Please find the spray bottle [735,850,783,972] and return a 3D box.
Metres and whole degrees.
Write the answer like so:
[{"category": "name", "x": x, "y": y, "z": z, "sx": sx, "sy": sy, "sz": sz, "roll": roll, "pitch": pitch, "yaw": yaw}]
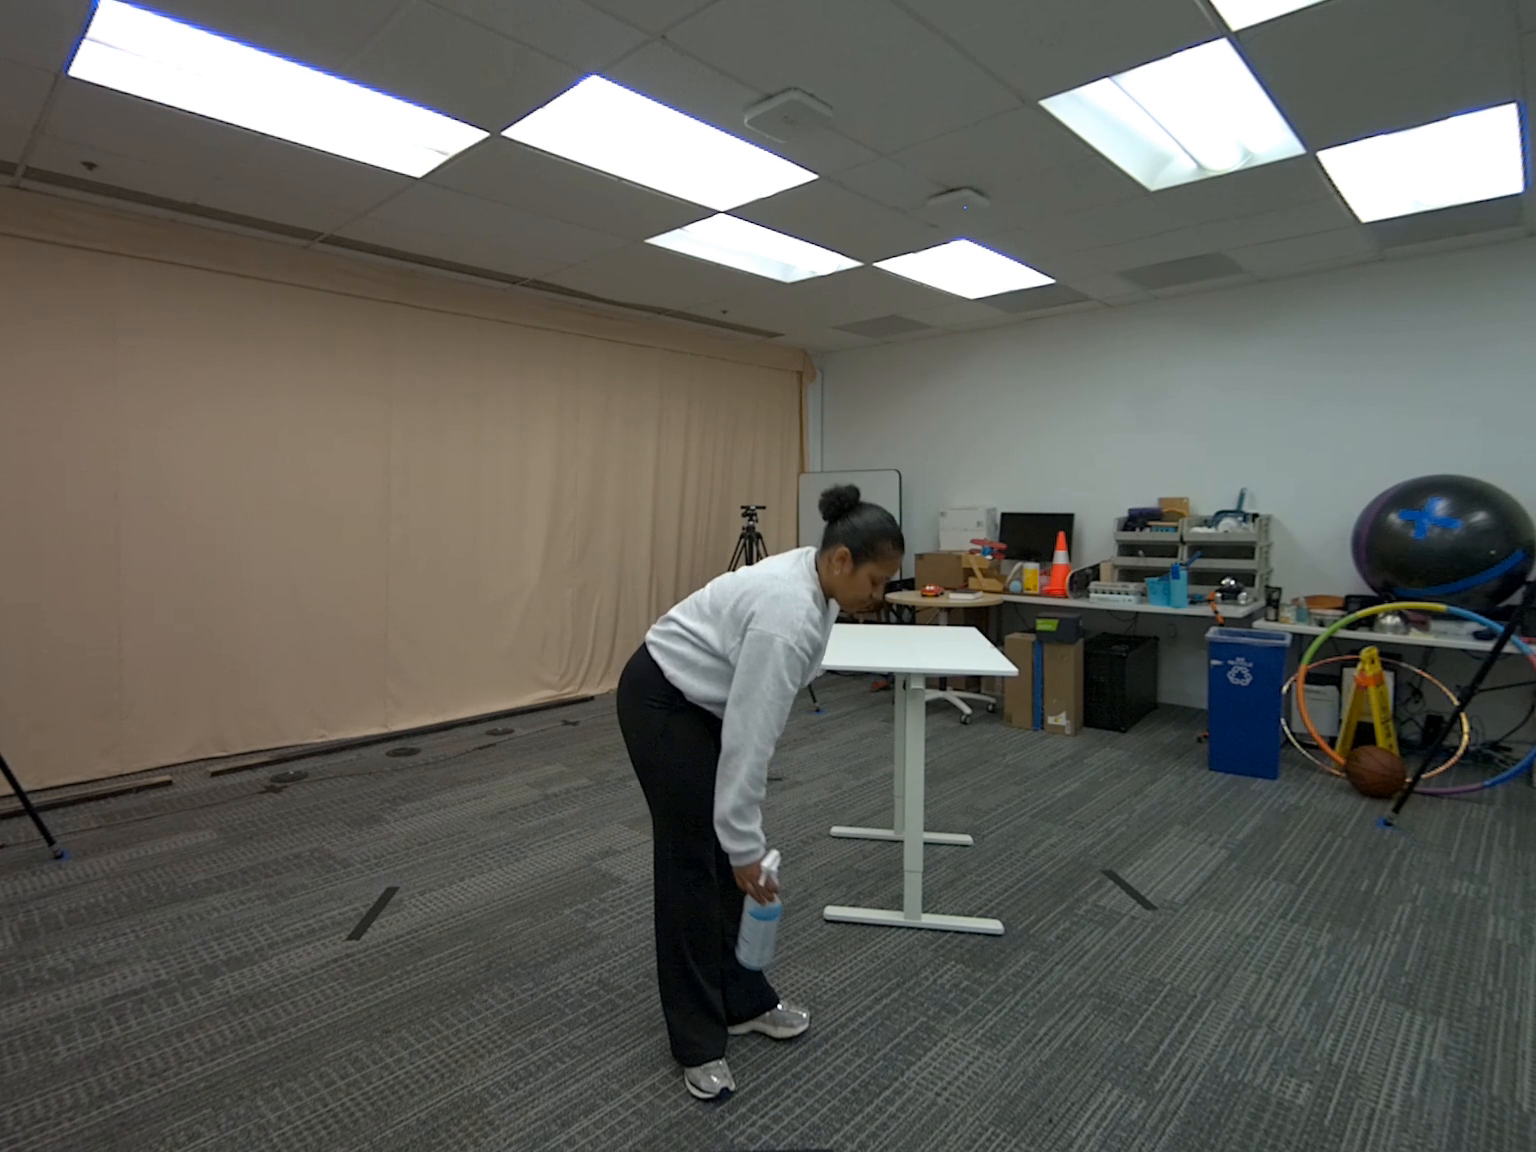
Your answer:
[{"category": "spray bottle", "x": -0.017, "y": 0.767, "z": 1.935, "sx": 0.087, "sy": 0.295, "sz": 0.090, "roll": -5, "pitch": 21, "yaw": -38}]
